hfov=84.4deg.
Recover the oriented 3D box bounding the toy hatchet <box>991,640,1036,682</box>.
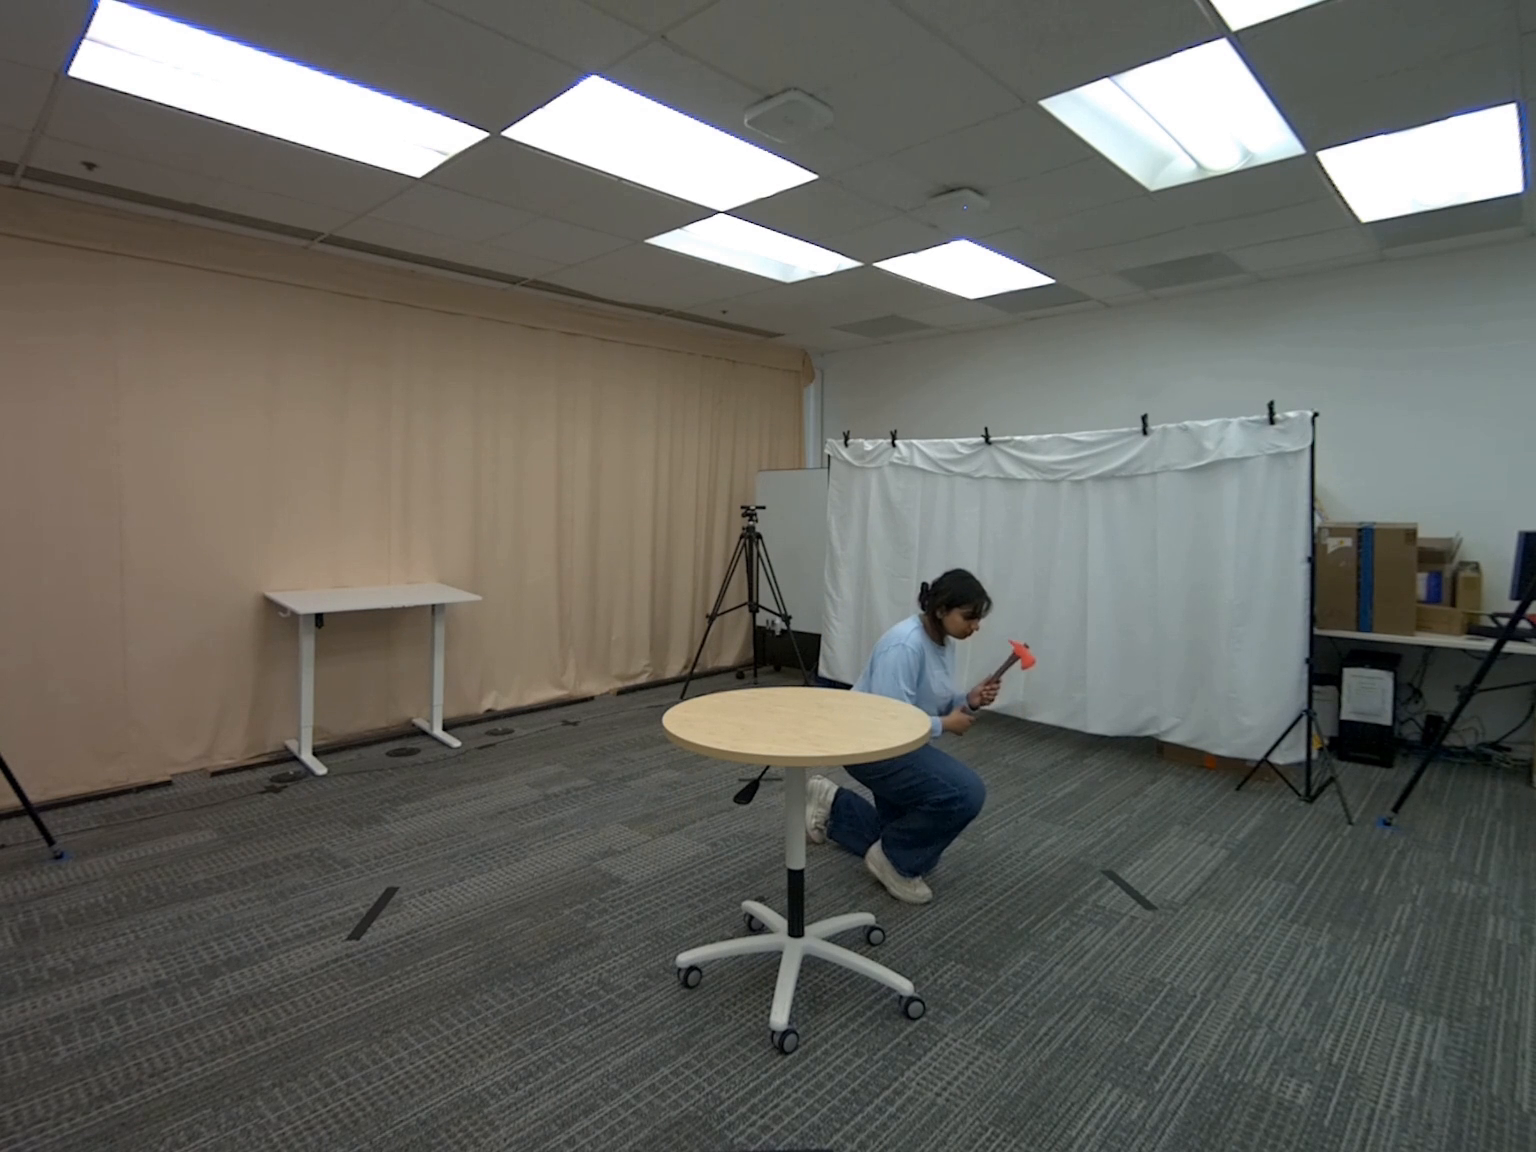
[{"bbox_3d":[0.891,0.359,3.087,0.135,0.270,0.028,23,-8,32],"label":"toy hatchet"}]
